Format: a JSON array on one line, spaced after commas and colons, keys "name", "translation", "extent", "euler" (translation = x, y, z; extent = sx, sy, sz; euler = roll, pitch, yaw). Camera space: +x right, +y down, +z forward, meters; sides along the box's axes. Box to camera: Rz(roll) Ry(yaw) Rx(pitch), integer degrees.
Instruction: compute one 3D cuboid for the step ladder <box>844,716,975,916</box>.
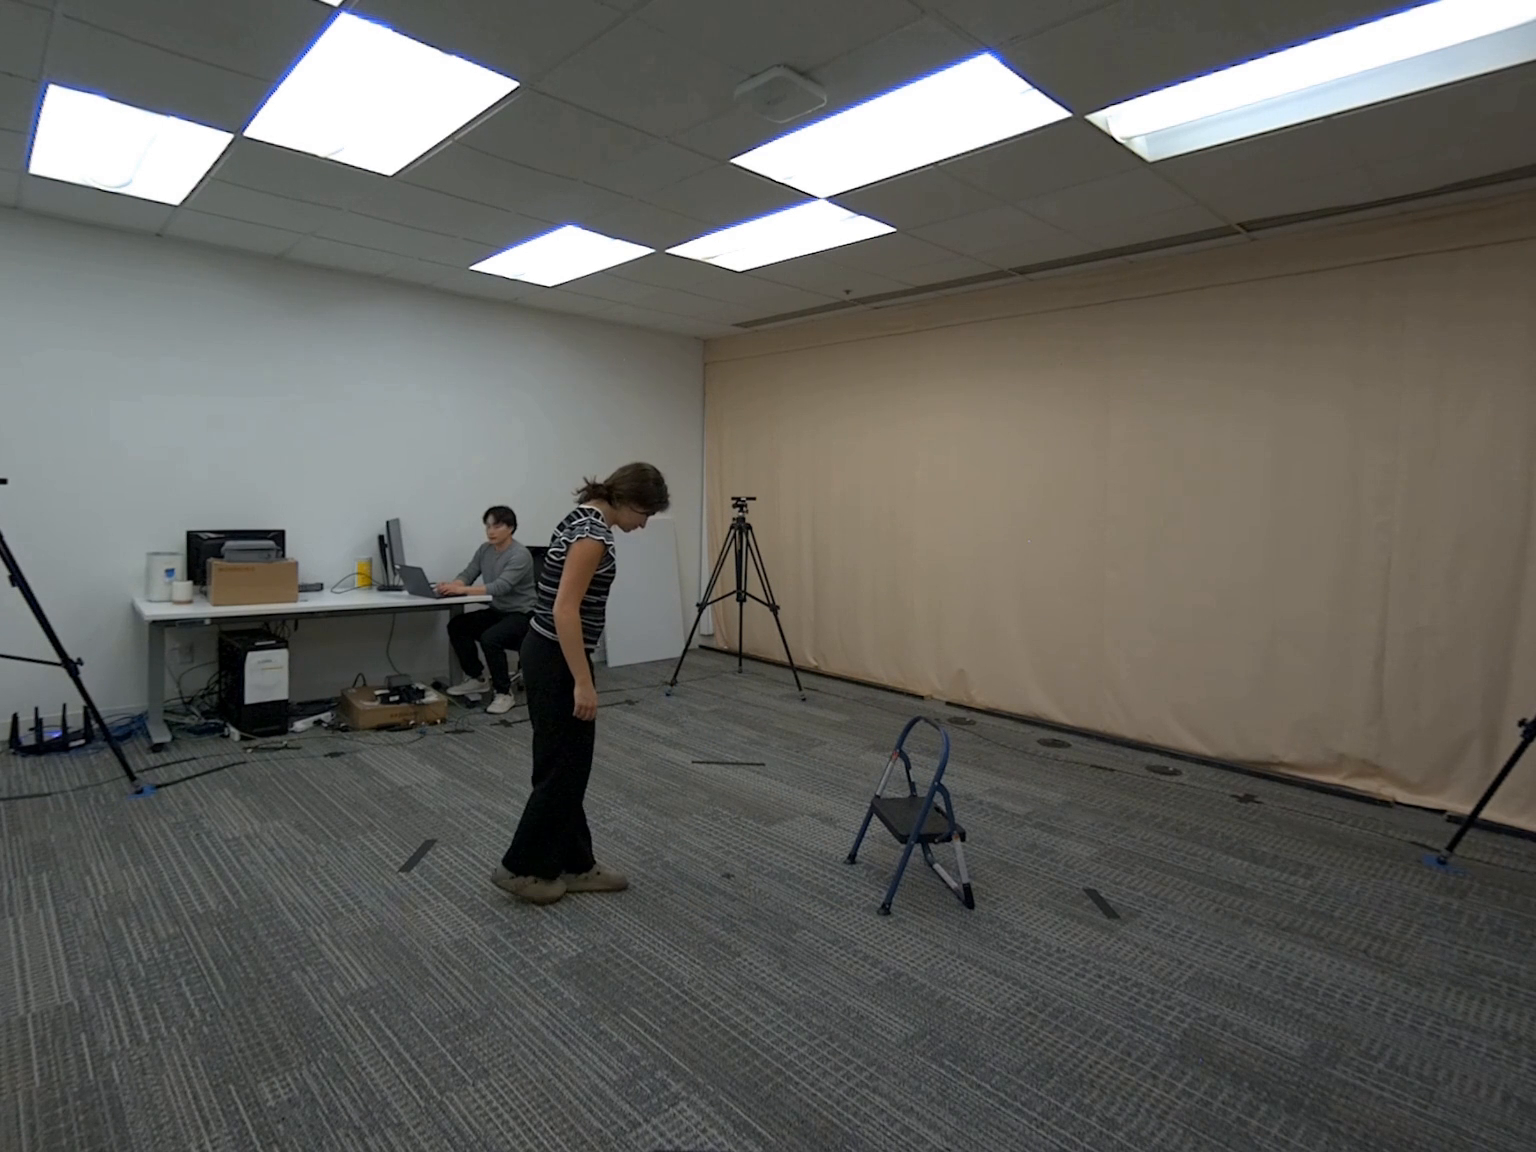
[{"name": "step ladder", "translation": [0.509, 0.828, 3.054], "extent": [0.346, 0.604, 0.435], "euler": [1, 4, -10]}]
